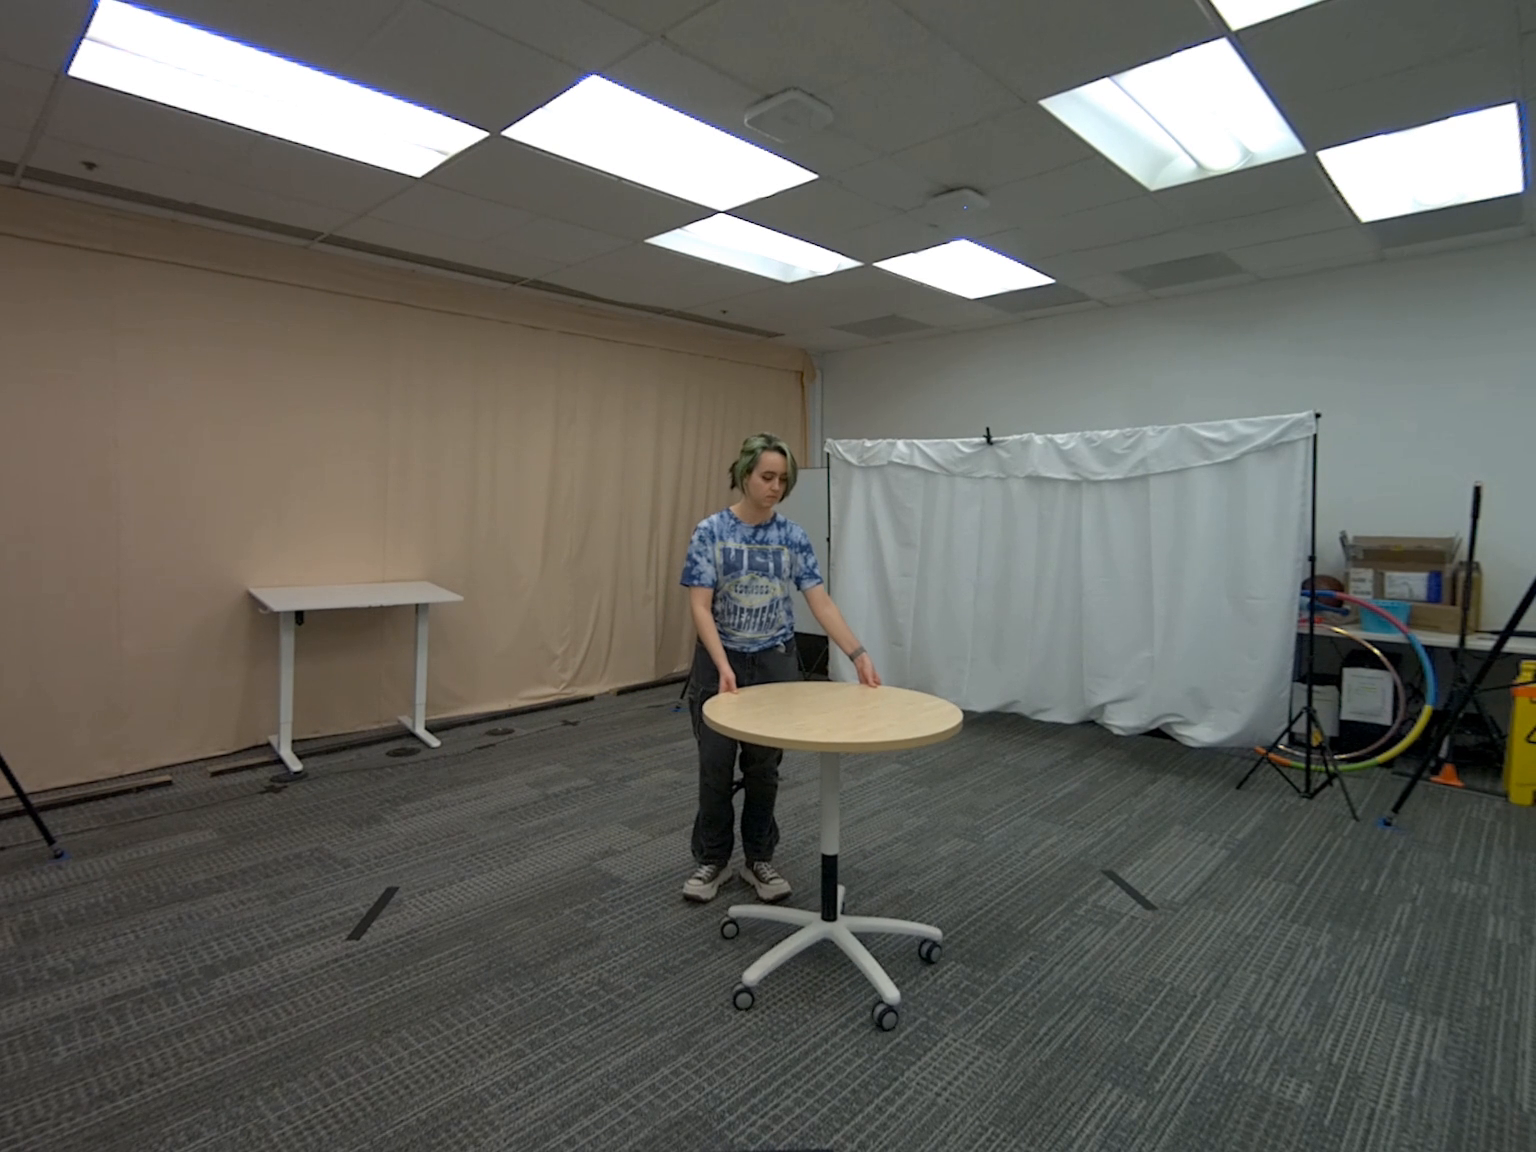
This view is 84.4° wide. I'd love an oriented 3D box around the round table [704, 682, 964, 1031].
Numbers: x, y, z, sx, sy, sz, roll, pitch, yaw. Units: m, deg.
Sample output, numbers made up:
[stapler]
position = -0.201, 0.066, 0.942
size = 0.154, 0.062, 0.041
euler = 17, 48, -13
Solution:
[round table]
position = 0.189, 0.791, 2.542
size = 0.763, 0.792, 0.766
euler = 0, 4, -2
